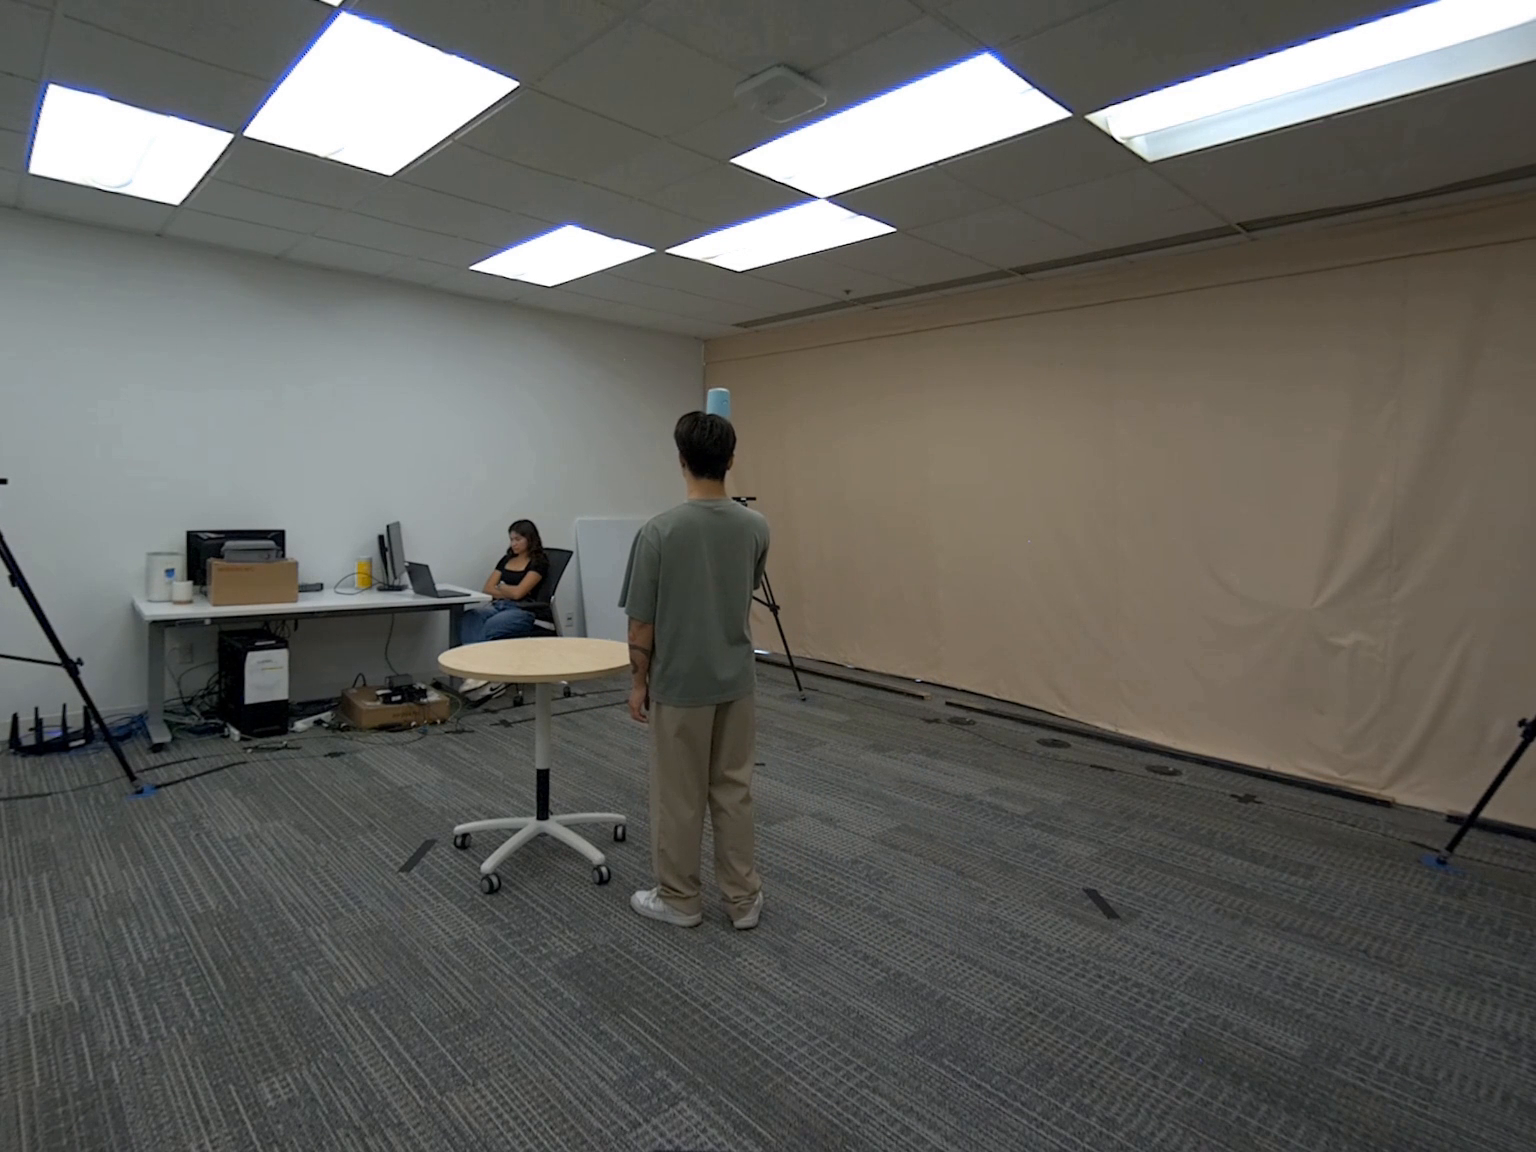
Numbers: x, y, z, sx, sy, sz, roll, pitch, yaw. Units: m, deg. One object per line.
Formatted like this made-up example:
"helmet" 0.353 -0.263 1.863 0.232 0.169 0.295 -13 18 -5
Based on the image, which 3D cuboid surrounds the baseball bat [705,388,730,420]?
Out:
"baseball bat" -0.203 -0.453 3.260 0.089 0.542 0.089 3 3 -2
